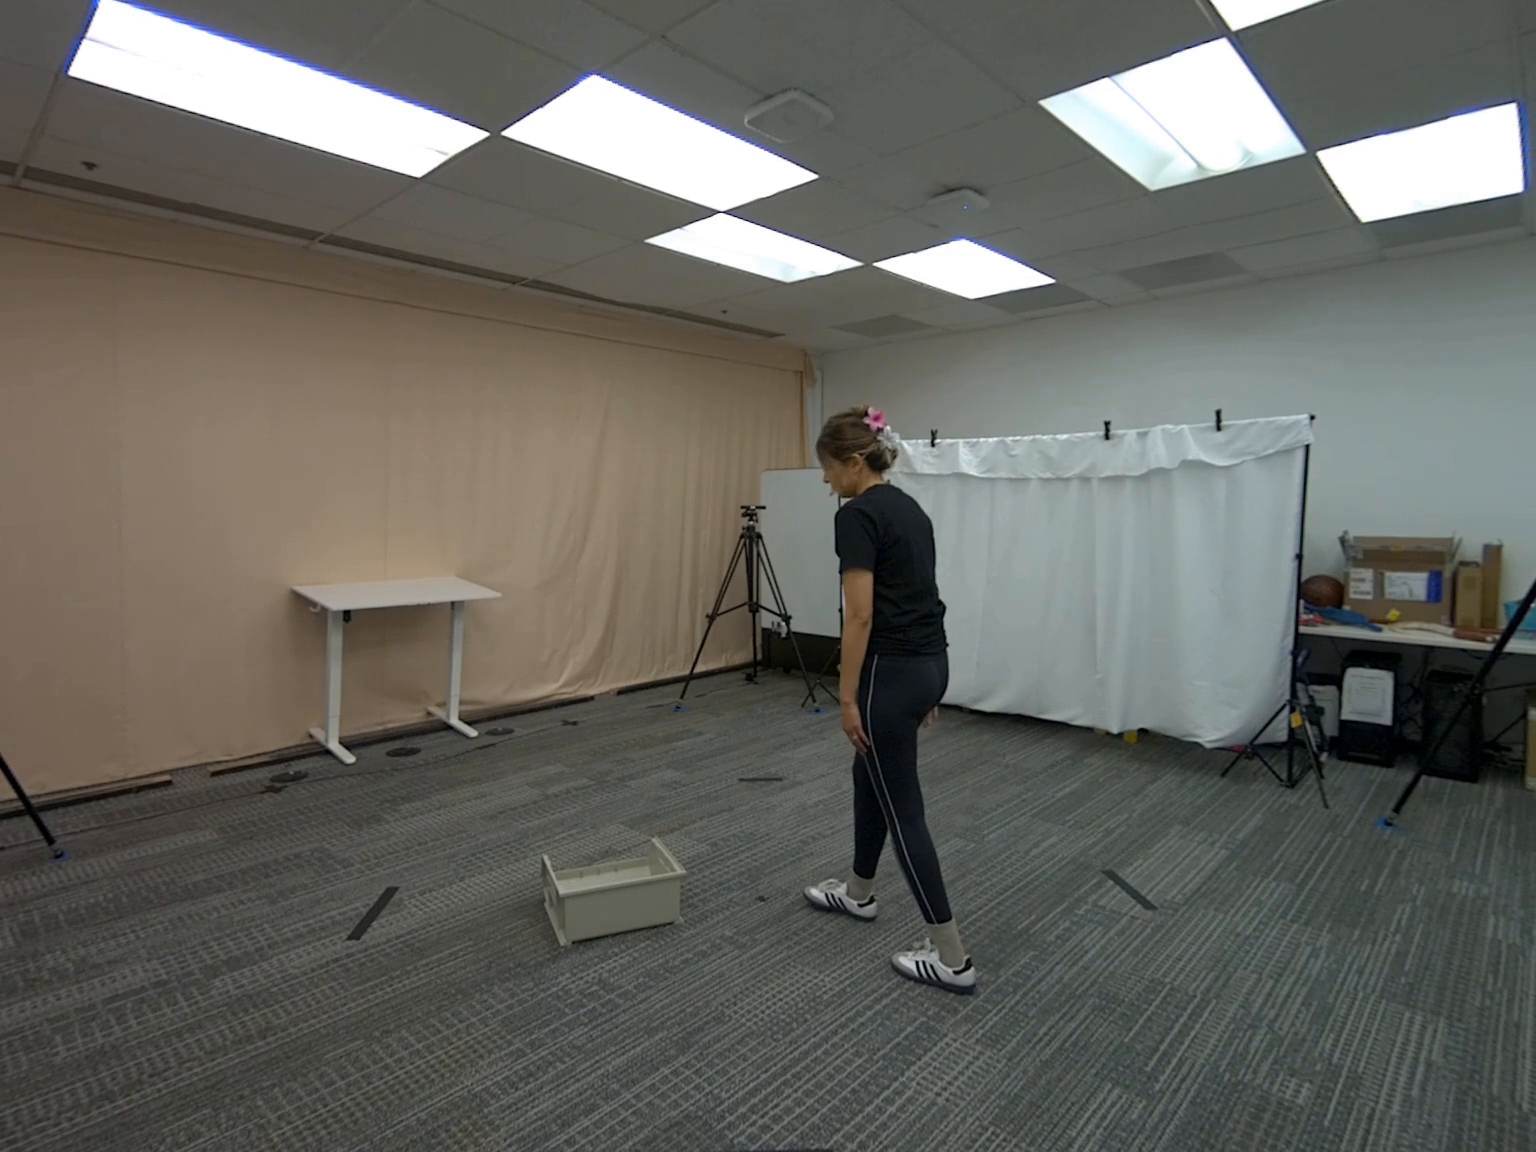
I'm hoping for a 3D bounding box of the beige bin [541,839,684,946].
[{"bbox_3d":[-0.543,1.068,2.896,0.413,0.188,0.387,-2,5,-23],"label":"beige bin"}]
